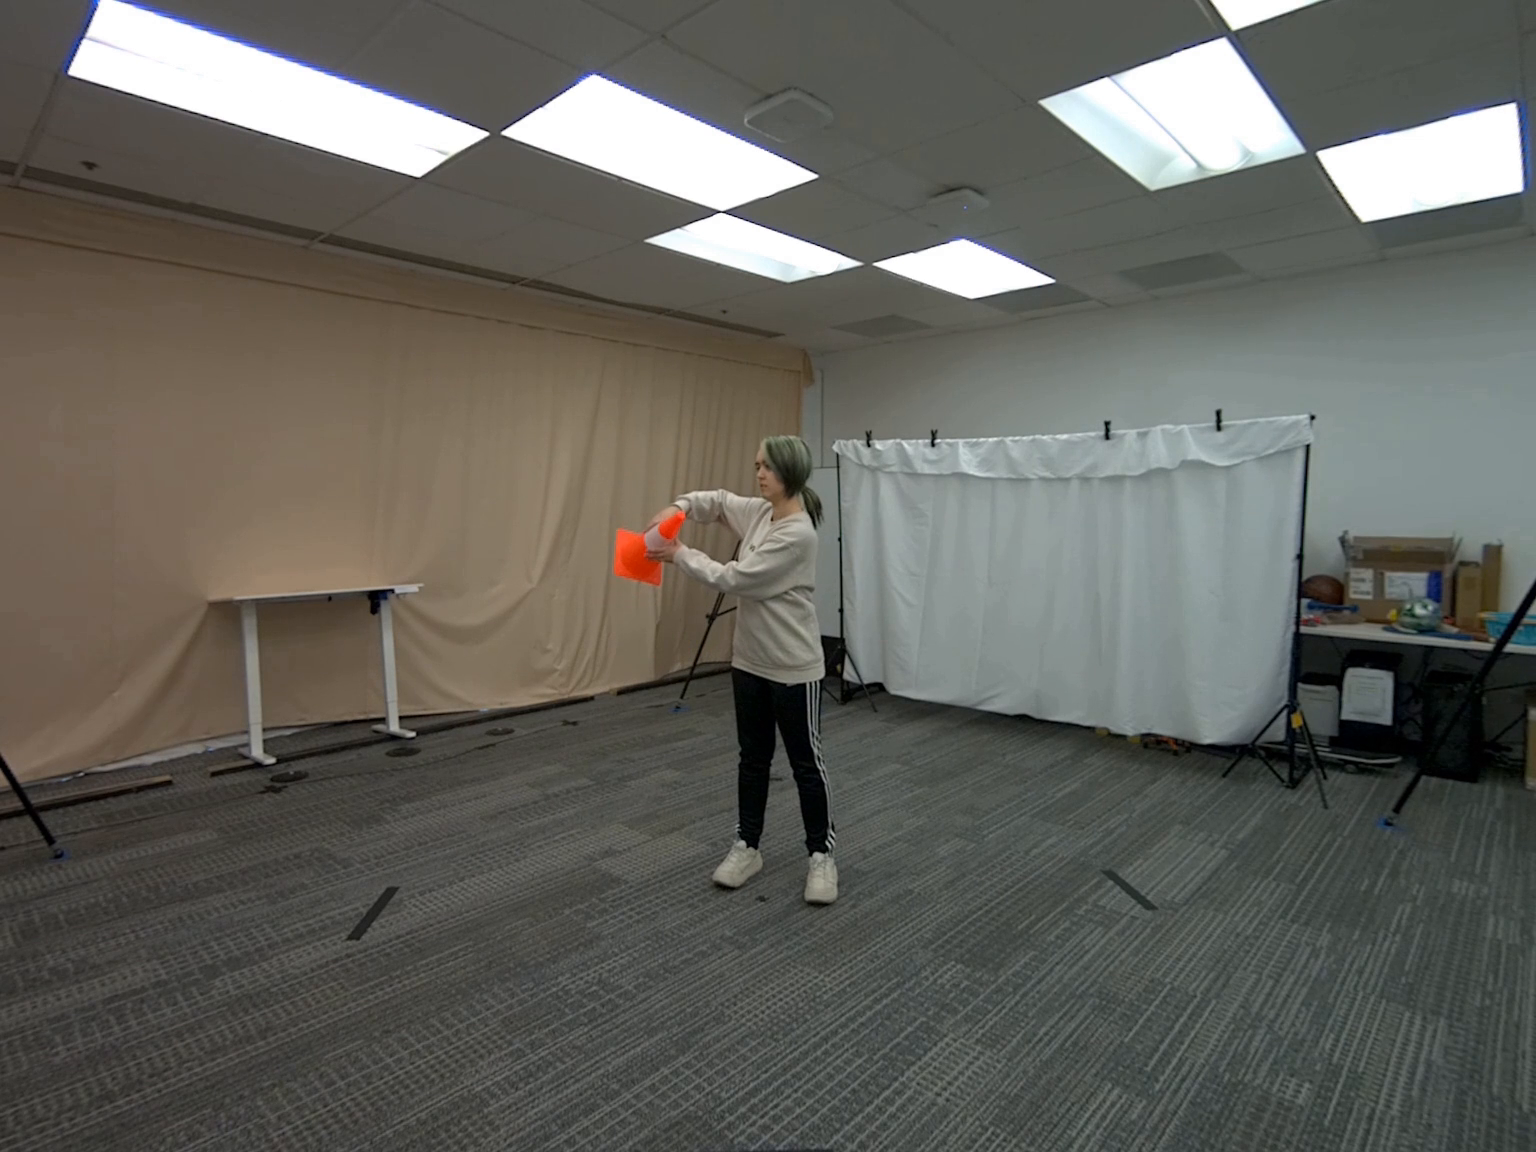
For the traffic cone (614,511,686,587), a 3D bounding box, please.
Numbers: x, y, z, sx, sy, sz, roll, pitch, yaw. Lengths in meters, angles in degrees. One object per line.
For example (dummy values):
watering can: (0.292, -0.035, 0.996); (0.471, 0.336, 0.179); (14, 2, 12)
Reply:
traffic cone: (-0.397, -0.129, 3.138); (0.197, 0.208, 0.389); (16, -31, -28)
